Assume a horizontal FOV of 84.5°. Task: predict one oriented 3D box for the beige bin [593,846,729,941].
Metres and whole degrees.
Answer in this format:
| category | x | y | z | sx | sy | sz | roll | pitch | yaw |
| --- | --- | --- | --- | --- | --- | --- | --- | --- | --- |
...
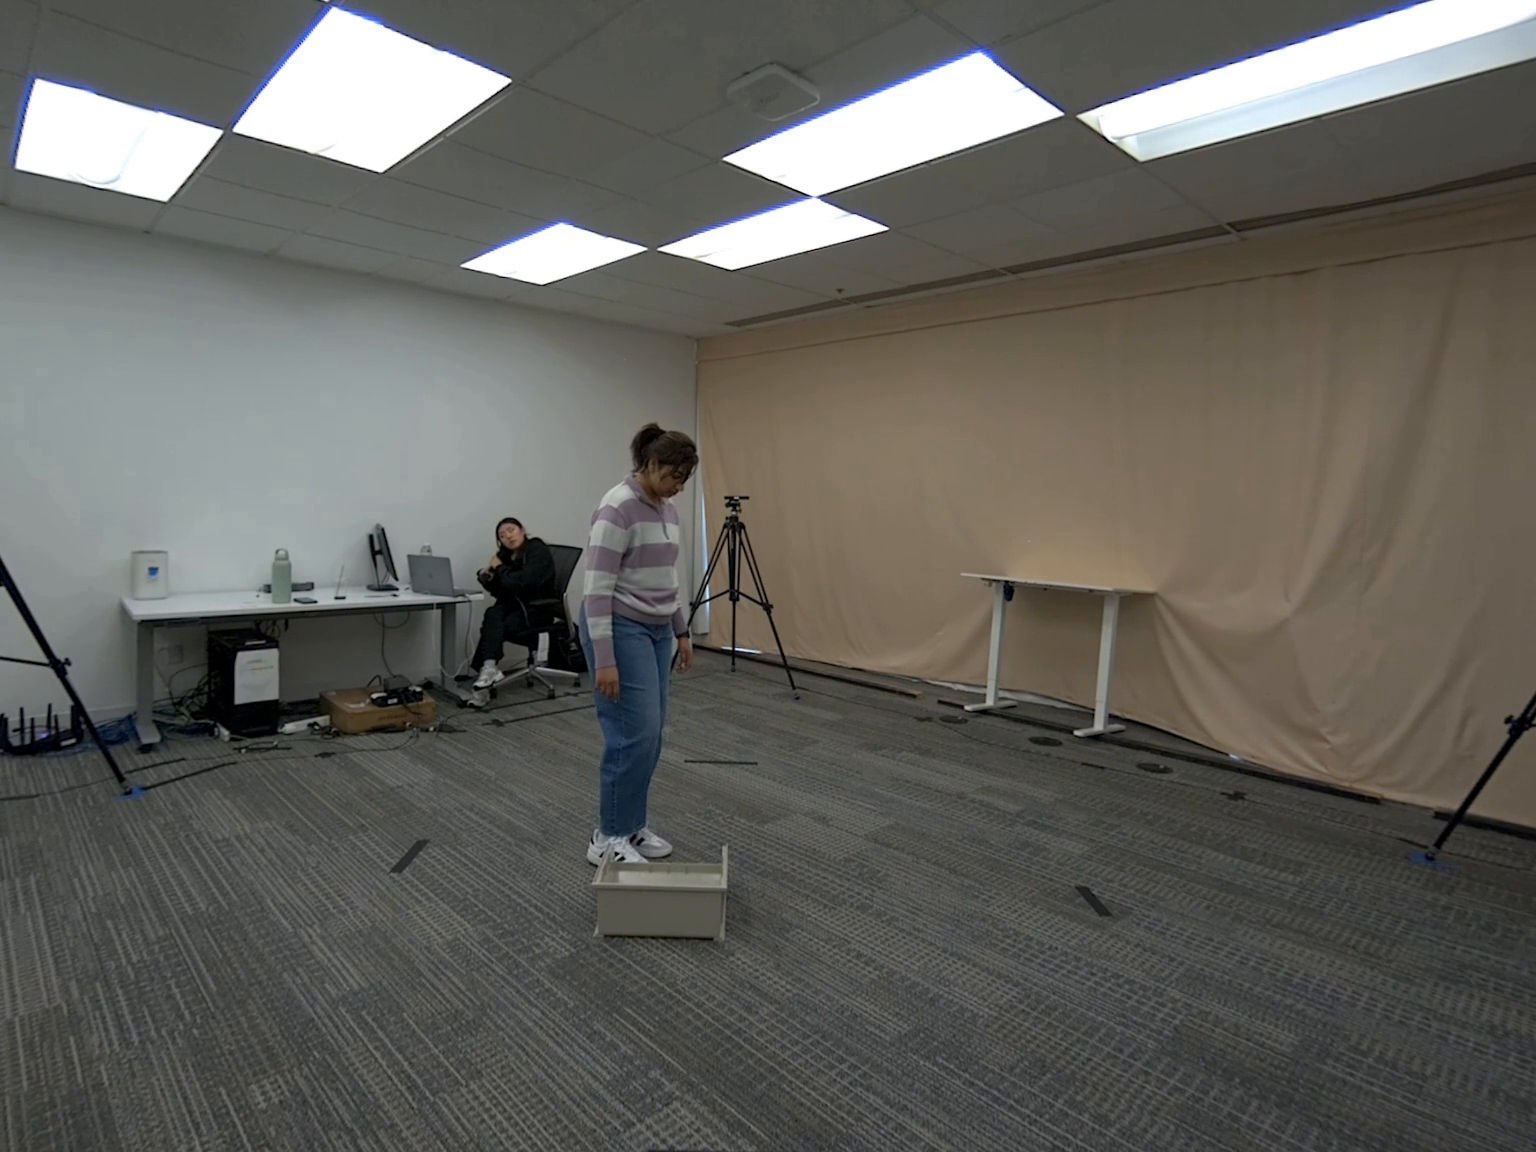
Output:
| category | x | y | z | sx | sy | sz | roll | pitch | yaw |
| --- | --- | --- | --- | --- | --- | --- | --- | --- | --- |
| beige bin | -0.353 | 1.040 | 2.805 | 0.422 | 0.188 | 0.379 | 2 | 5 | -1 |
